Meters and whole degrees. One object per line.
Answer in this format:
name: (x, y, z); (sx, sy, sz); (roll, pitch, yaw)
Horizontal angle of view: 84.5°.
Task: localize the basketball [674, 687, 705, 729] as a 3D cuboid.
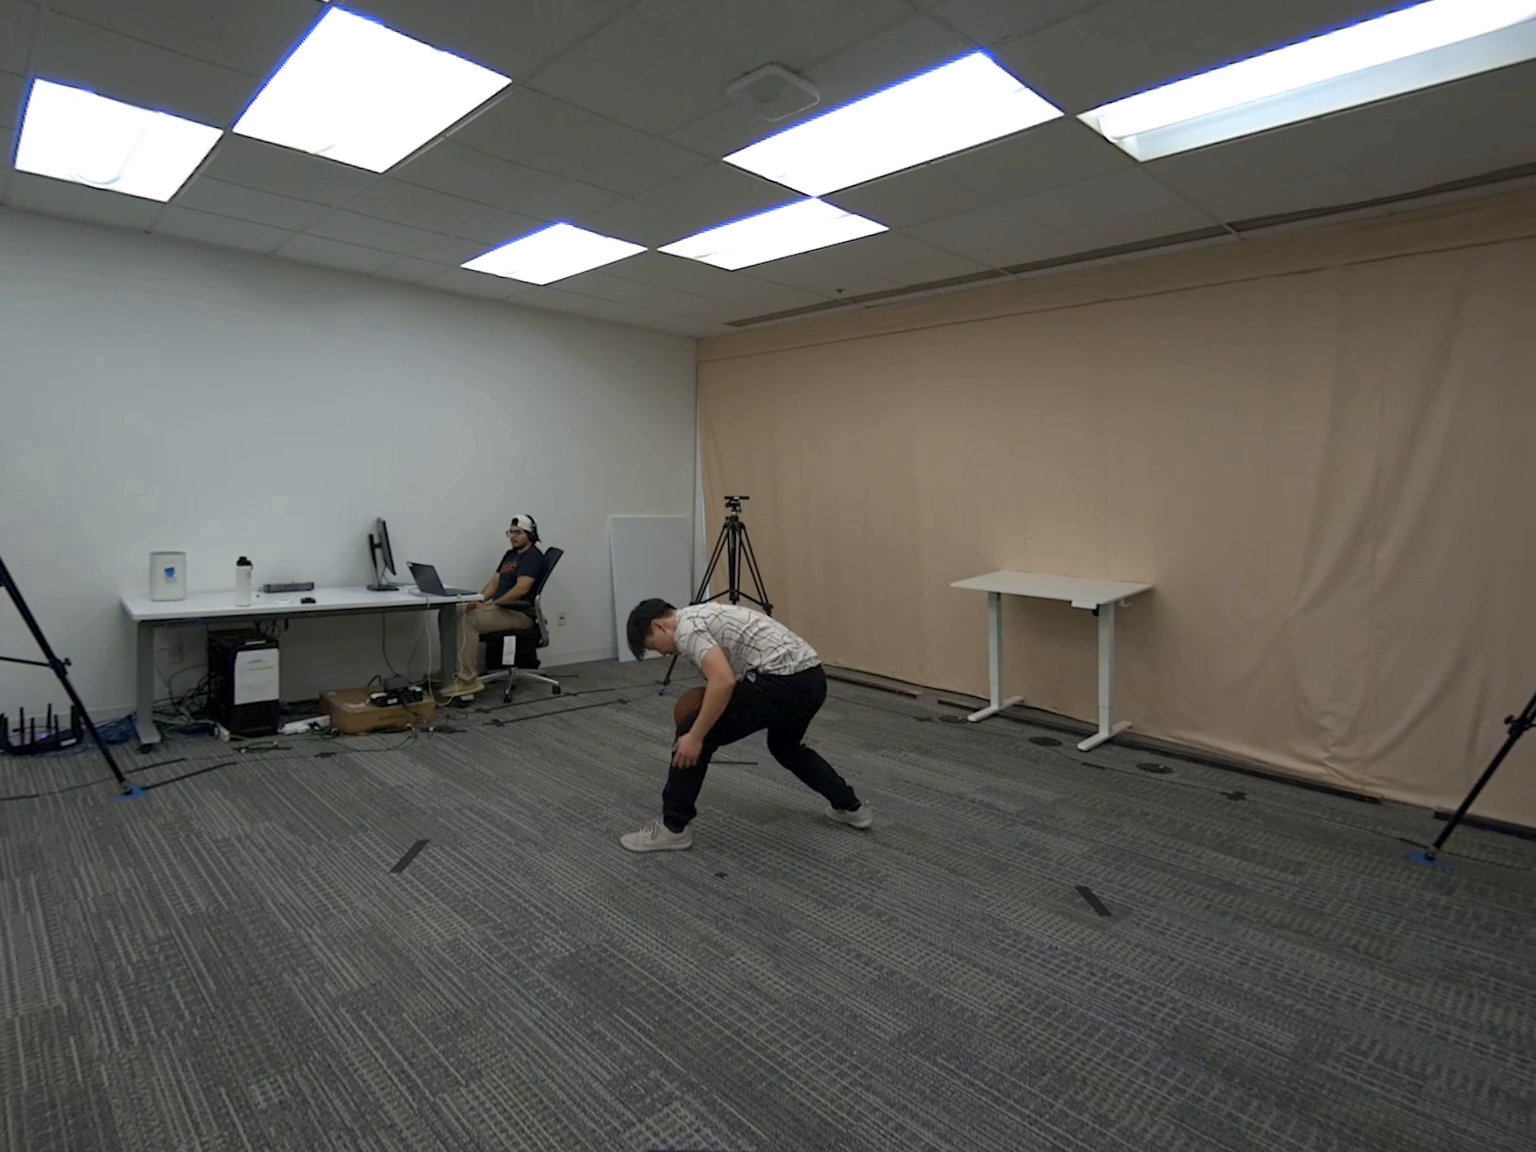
basketball: (-0.288, 0.602, 3.624); (0.236, 0.235, 0.237); (1, 4, -1)
